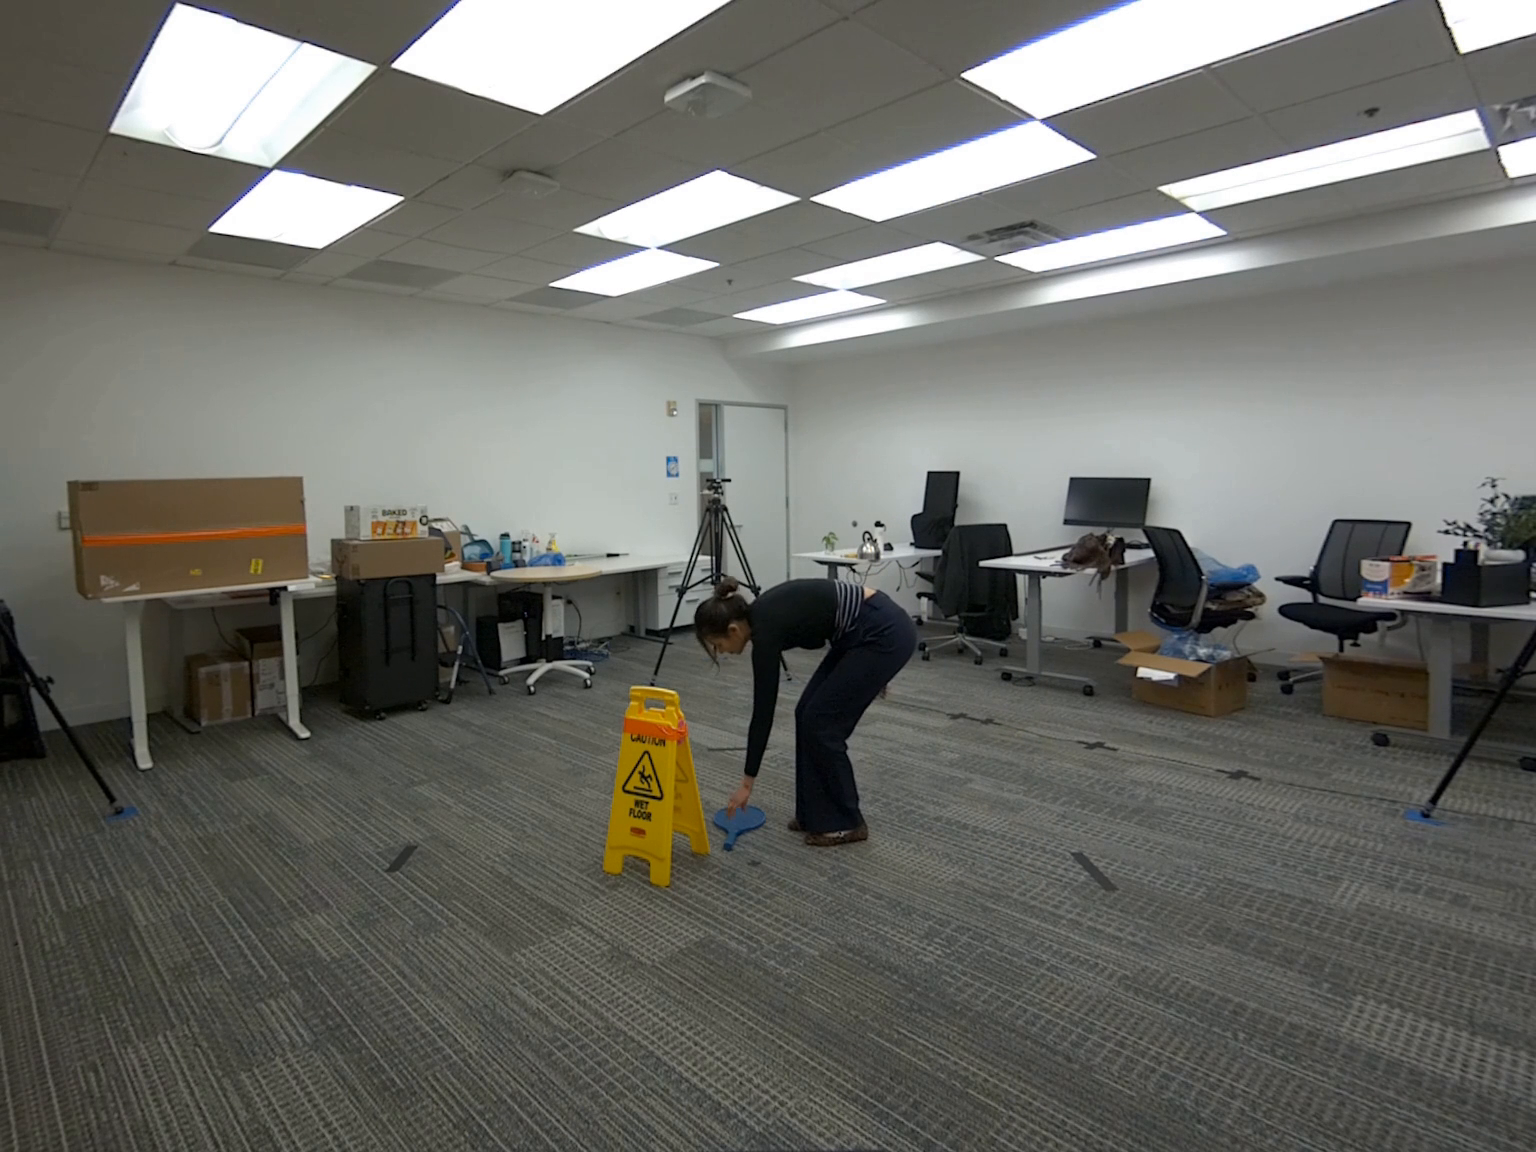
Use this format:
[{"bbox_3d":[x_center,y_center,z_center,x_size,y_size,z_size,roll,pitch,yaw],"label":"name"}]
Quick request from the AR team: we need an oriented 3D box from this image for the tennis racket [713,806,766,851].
[{"bbox_3d":[-0.120,0.993,3.422,0.215,0.031,0.432,0,5,5],"label":"tennis racket"}]
